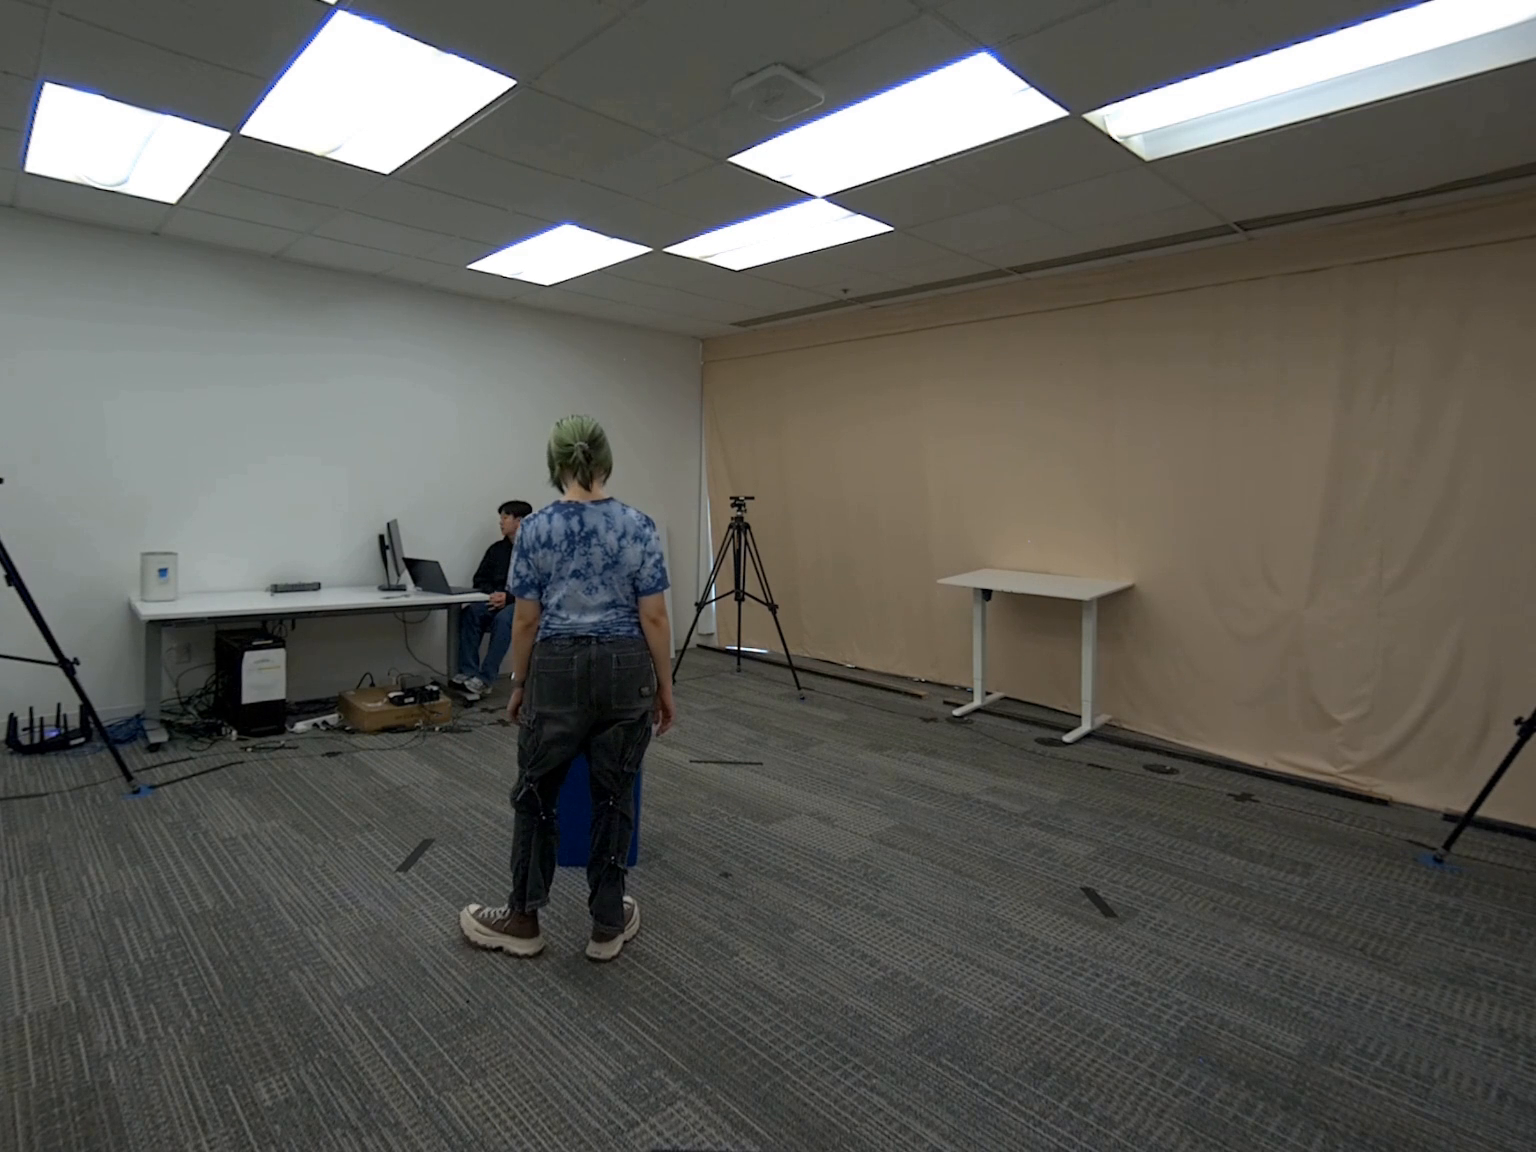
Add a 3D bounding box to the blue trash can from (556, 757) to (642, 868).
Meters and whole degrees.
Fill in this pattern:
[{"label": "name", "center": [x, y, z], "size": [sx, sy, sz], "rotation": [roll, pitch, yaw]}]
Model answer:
[{"label": "blue trash can", "center": [-0.651, 0.724, 3.277], "size": [0.373, 0.712, 0.380], "rotation": [1, 4, -5]}]
